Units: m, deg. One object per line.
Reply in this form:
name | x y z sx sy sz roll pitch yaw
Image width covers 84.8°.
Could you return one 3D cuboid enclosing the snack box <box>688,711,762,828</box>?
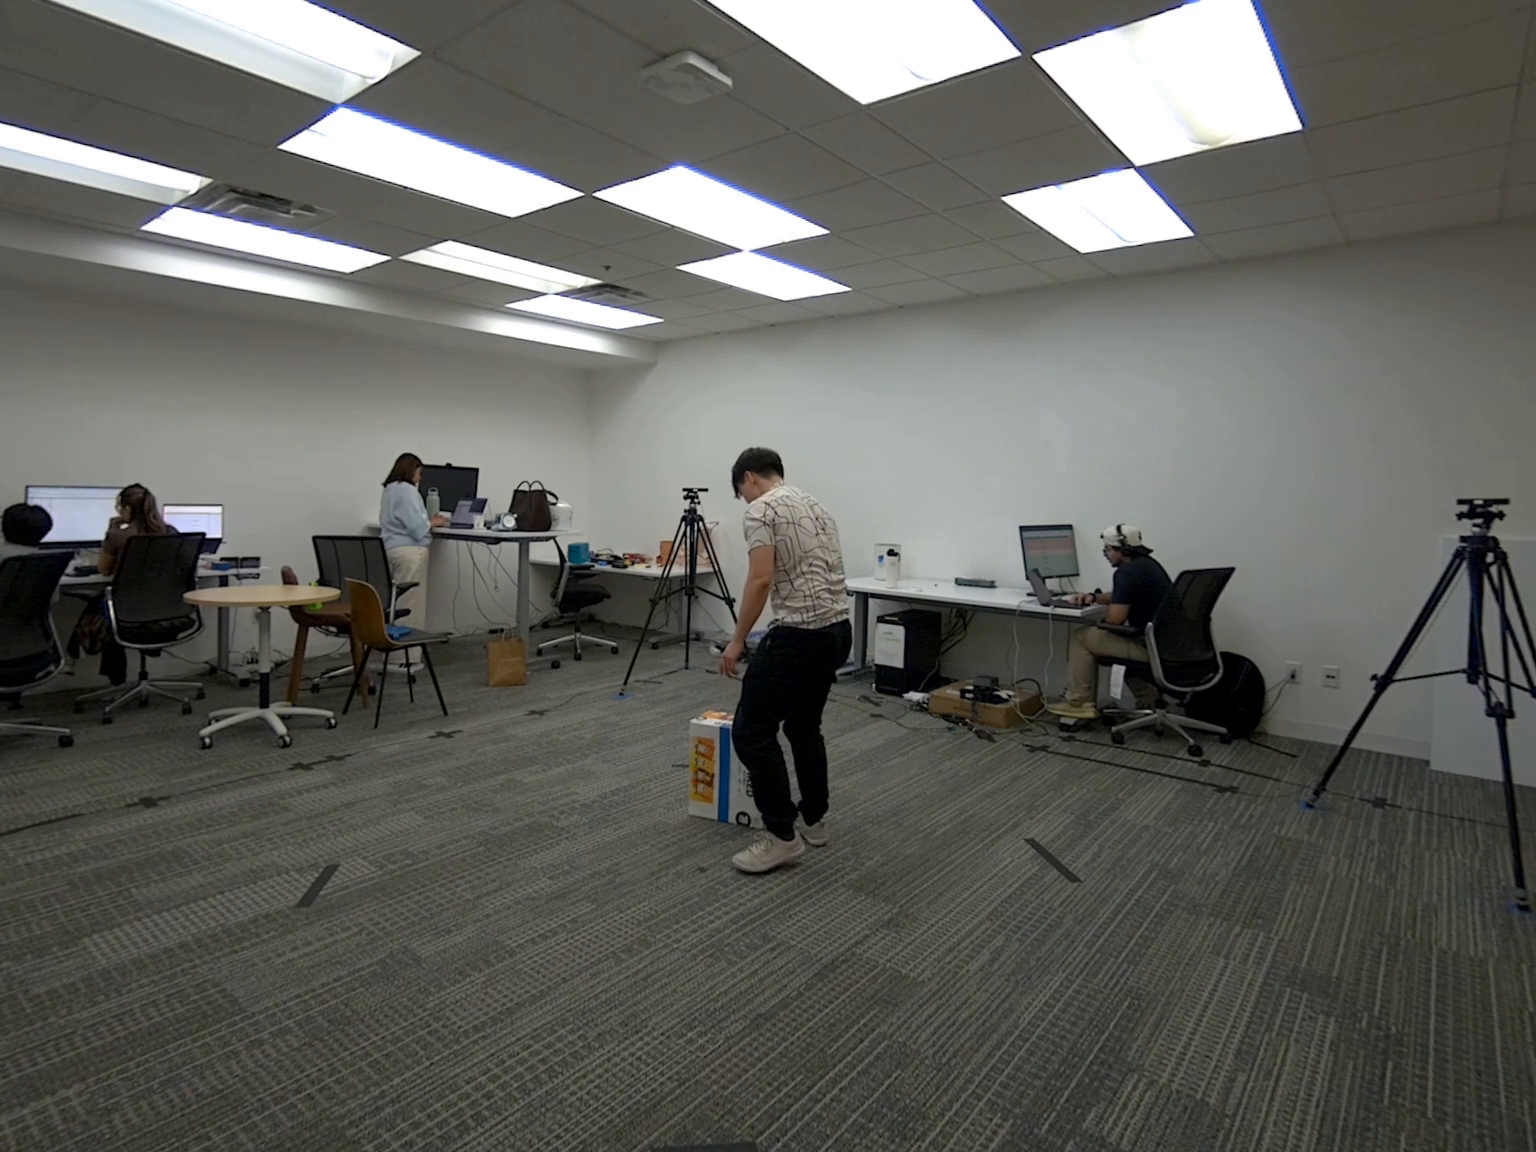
snack box | -0.153 0.816 3.636 0.349 0.404 0.201 3 4 23
